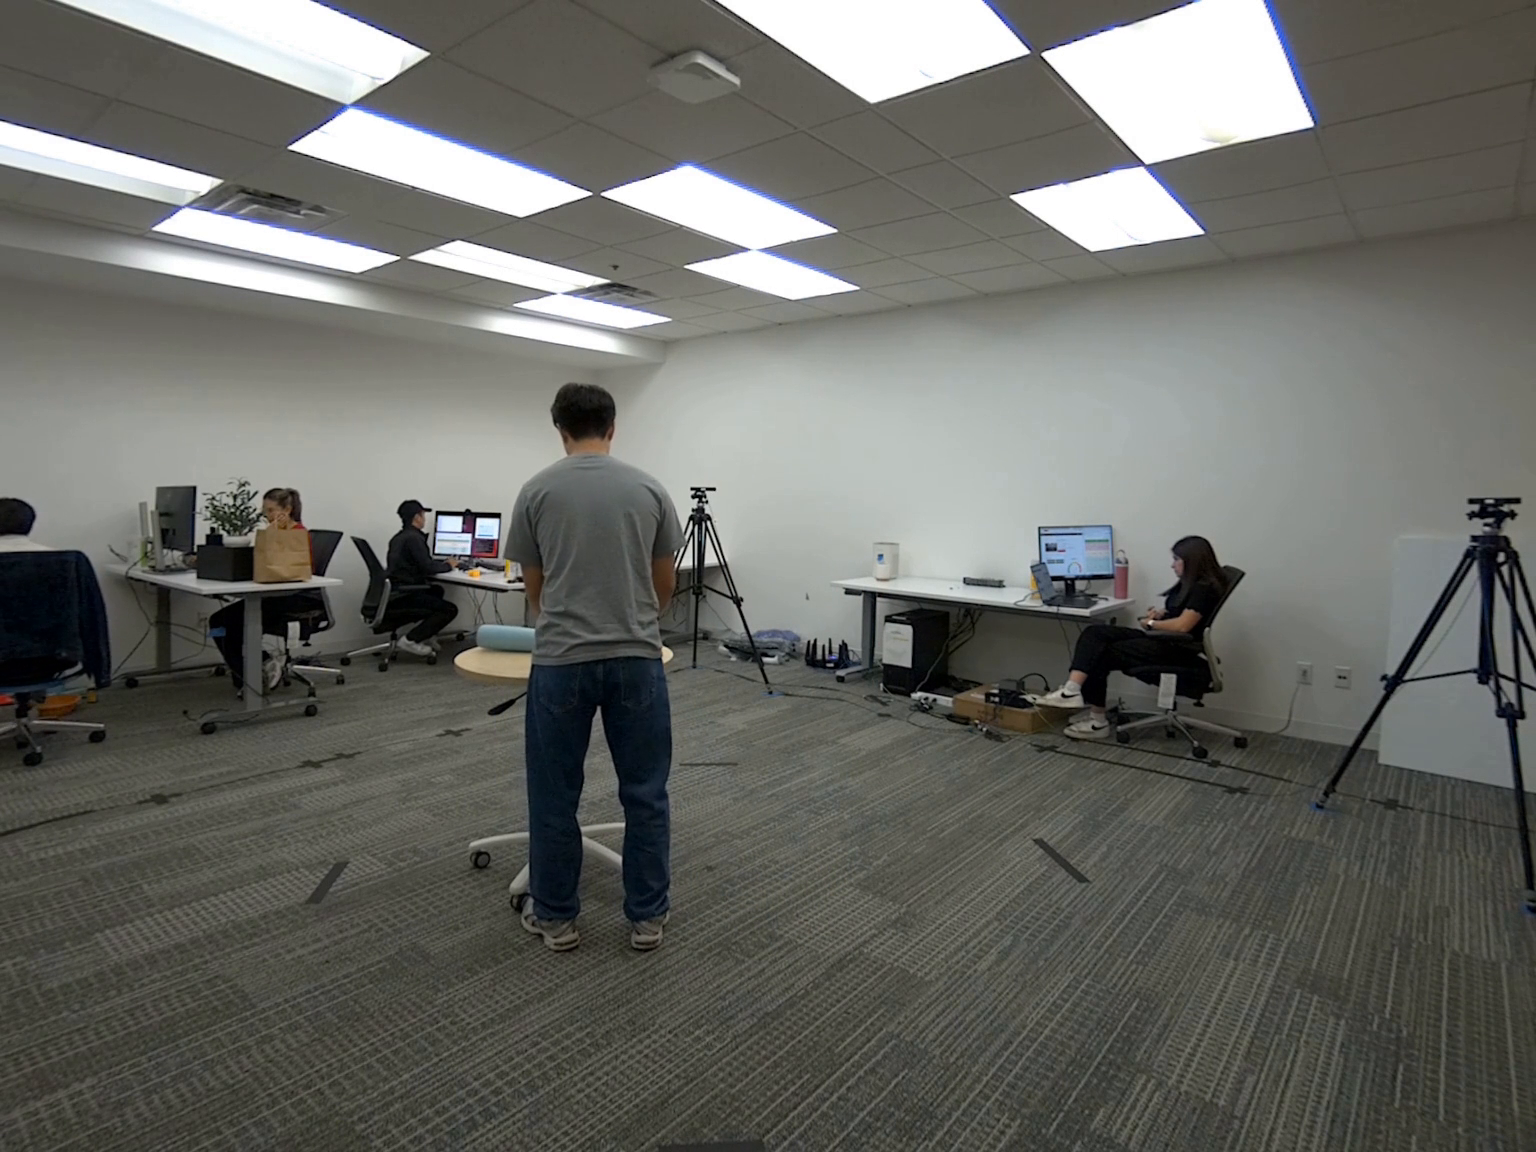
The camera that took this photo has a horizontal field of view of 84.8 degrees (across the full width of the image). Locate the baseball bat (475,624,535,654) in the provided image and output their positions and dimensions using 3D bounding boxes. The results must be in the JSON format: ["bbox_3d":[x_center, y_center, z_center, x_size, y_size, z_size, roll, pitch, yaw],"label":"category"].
[{"bbox_3d":[-0.807,0.241,3.081,0.550,0.089,0.088,4,5,12],"label":"baseball bat"}]
